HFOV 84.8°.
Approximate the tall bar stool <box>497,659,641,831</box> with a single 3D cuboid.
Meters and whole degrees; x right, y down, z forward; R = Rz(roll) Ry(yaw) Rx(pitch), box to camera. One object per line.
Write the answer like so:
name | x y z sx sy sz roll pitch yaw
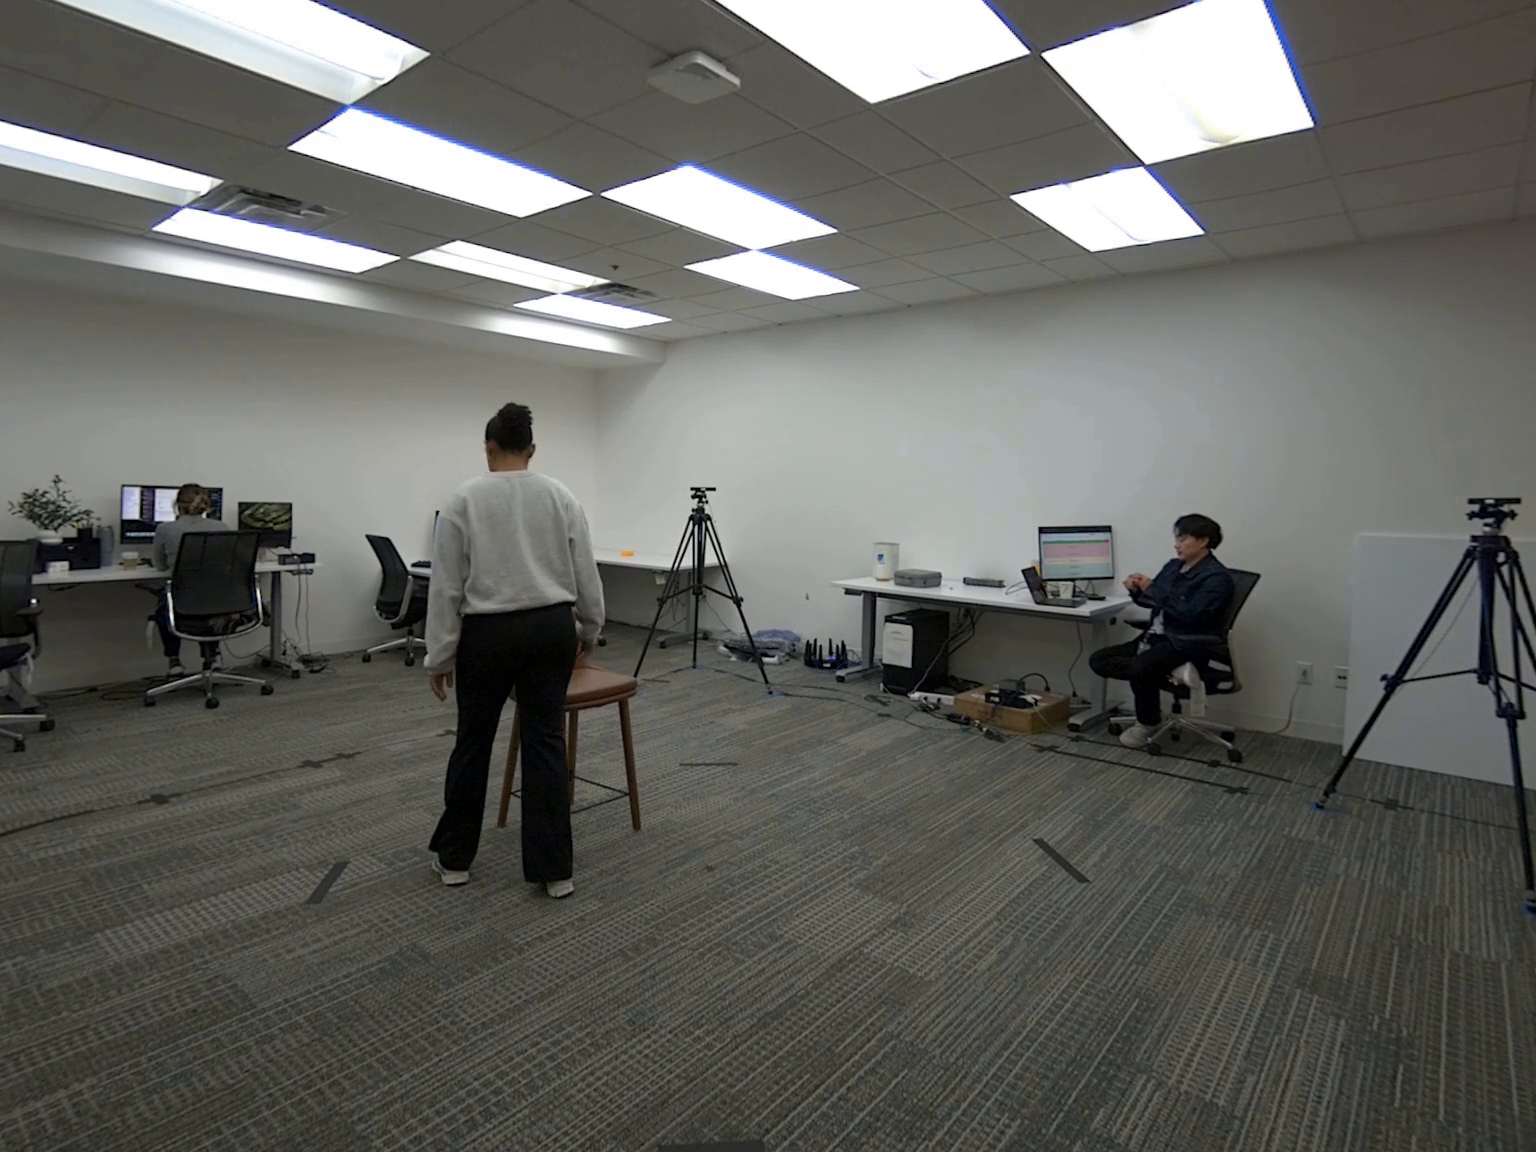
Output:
tall bar stool | -0.821 0.586 3.448 0.482 0.889 0.442 0 1 41
